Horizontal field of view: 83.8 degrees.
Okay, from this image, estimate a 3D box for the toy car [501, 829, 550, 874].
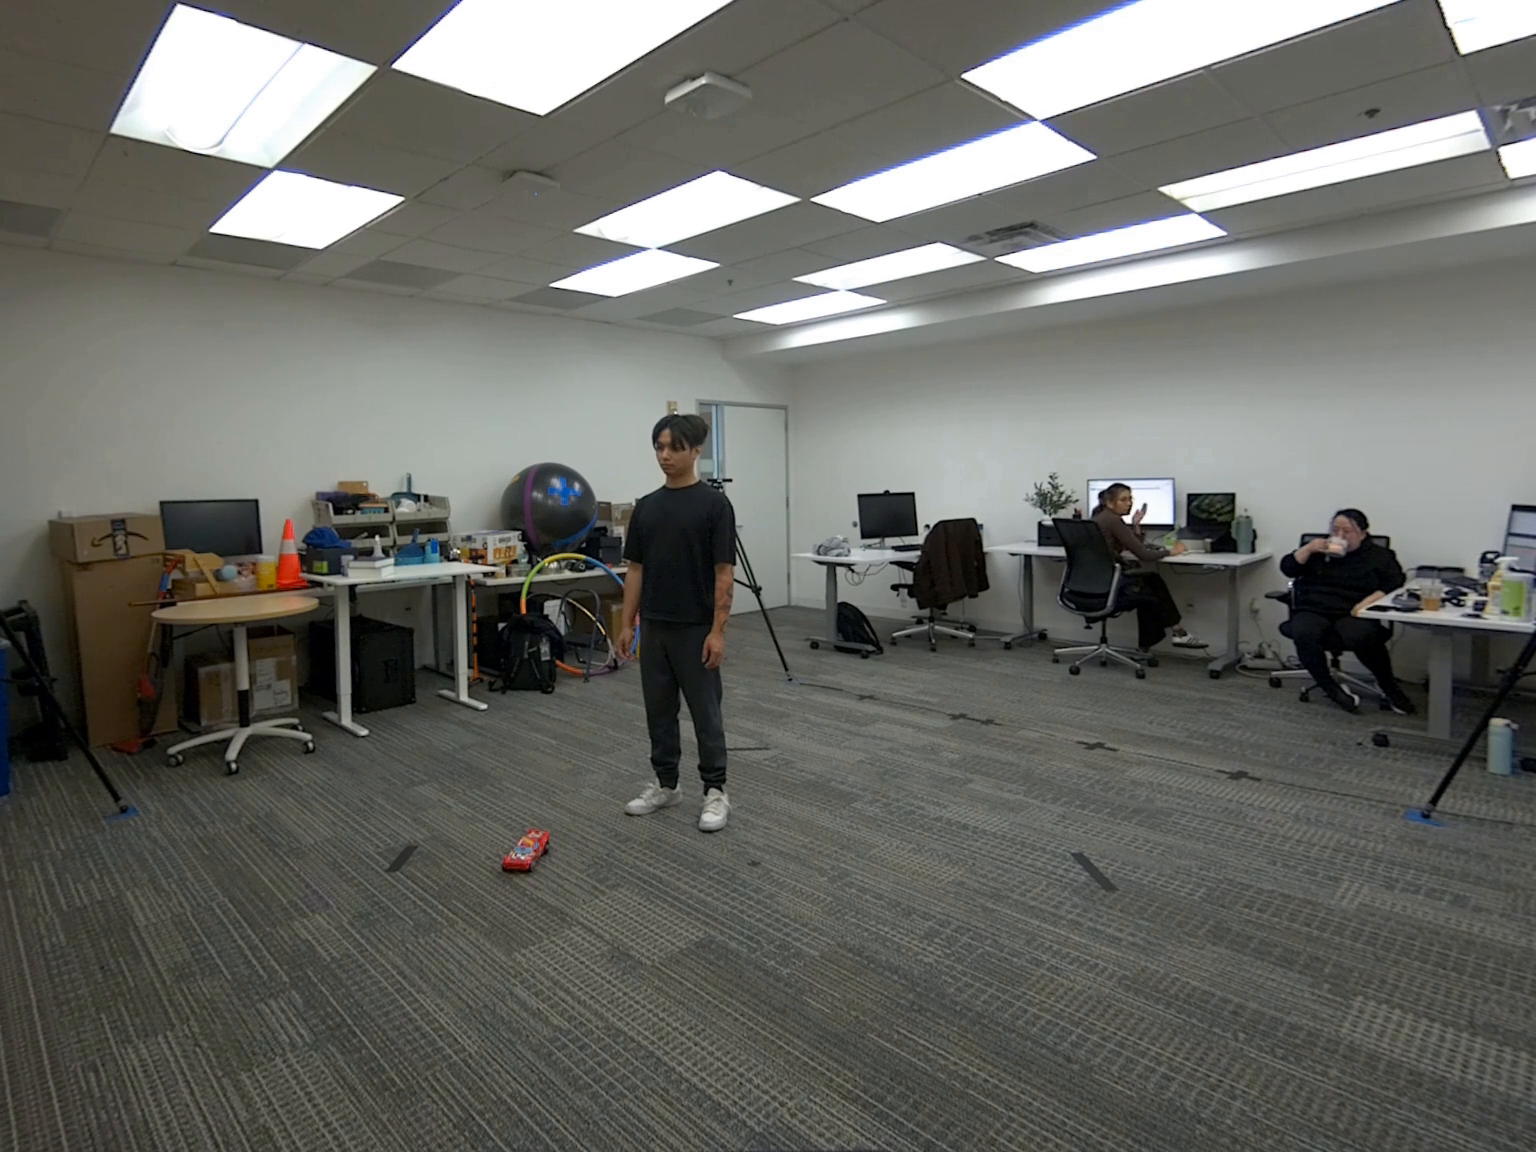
[{"bbox_3d":[-0.891,1.023,3.177,0.131,0.082,0.256,0,17,7],"label":"toy car"}]
